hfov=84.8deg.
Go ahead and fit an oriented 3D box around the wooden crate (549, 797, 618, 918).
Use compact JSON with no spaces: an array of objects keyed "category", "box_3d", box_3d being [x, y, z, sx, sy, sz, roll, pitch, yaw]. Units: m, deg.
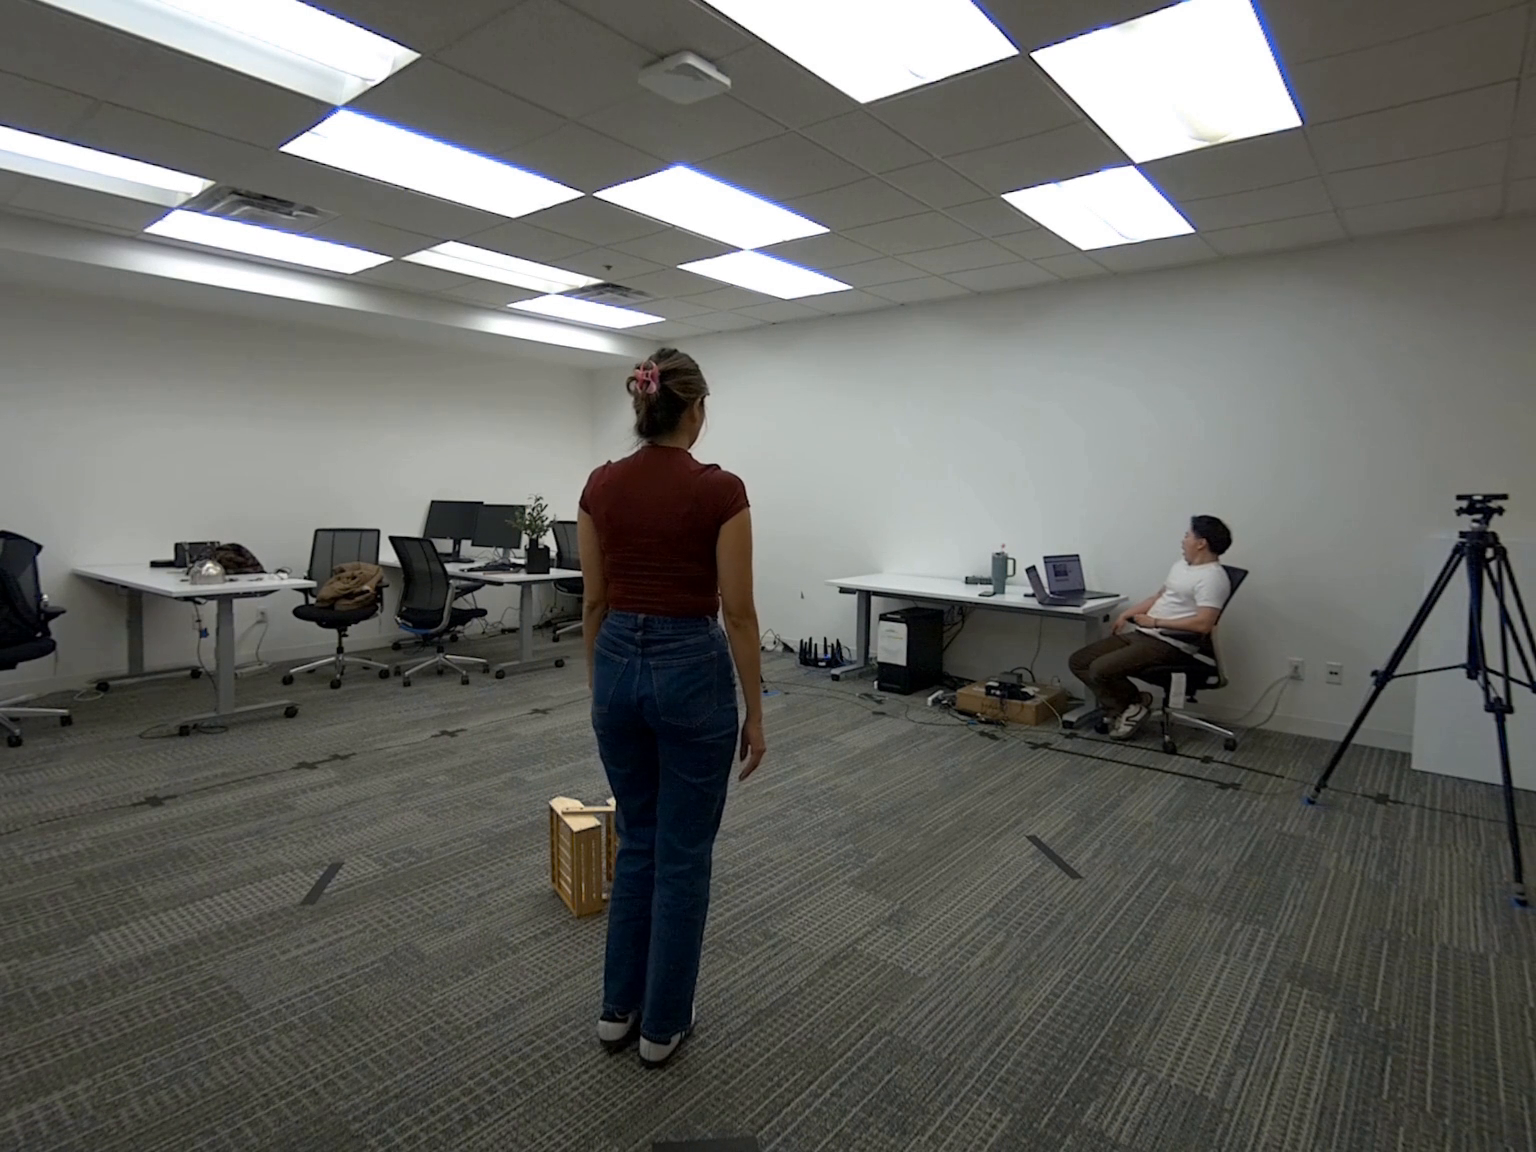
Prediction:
[{"category":"wooden crate","box_3d":[-0.570,0.919,2.855,0.266,0.321,0.313,-6,12,-33]}]
